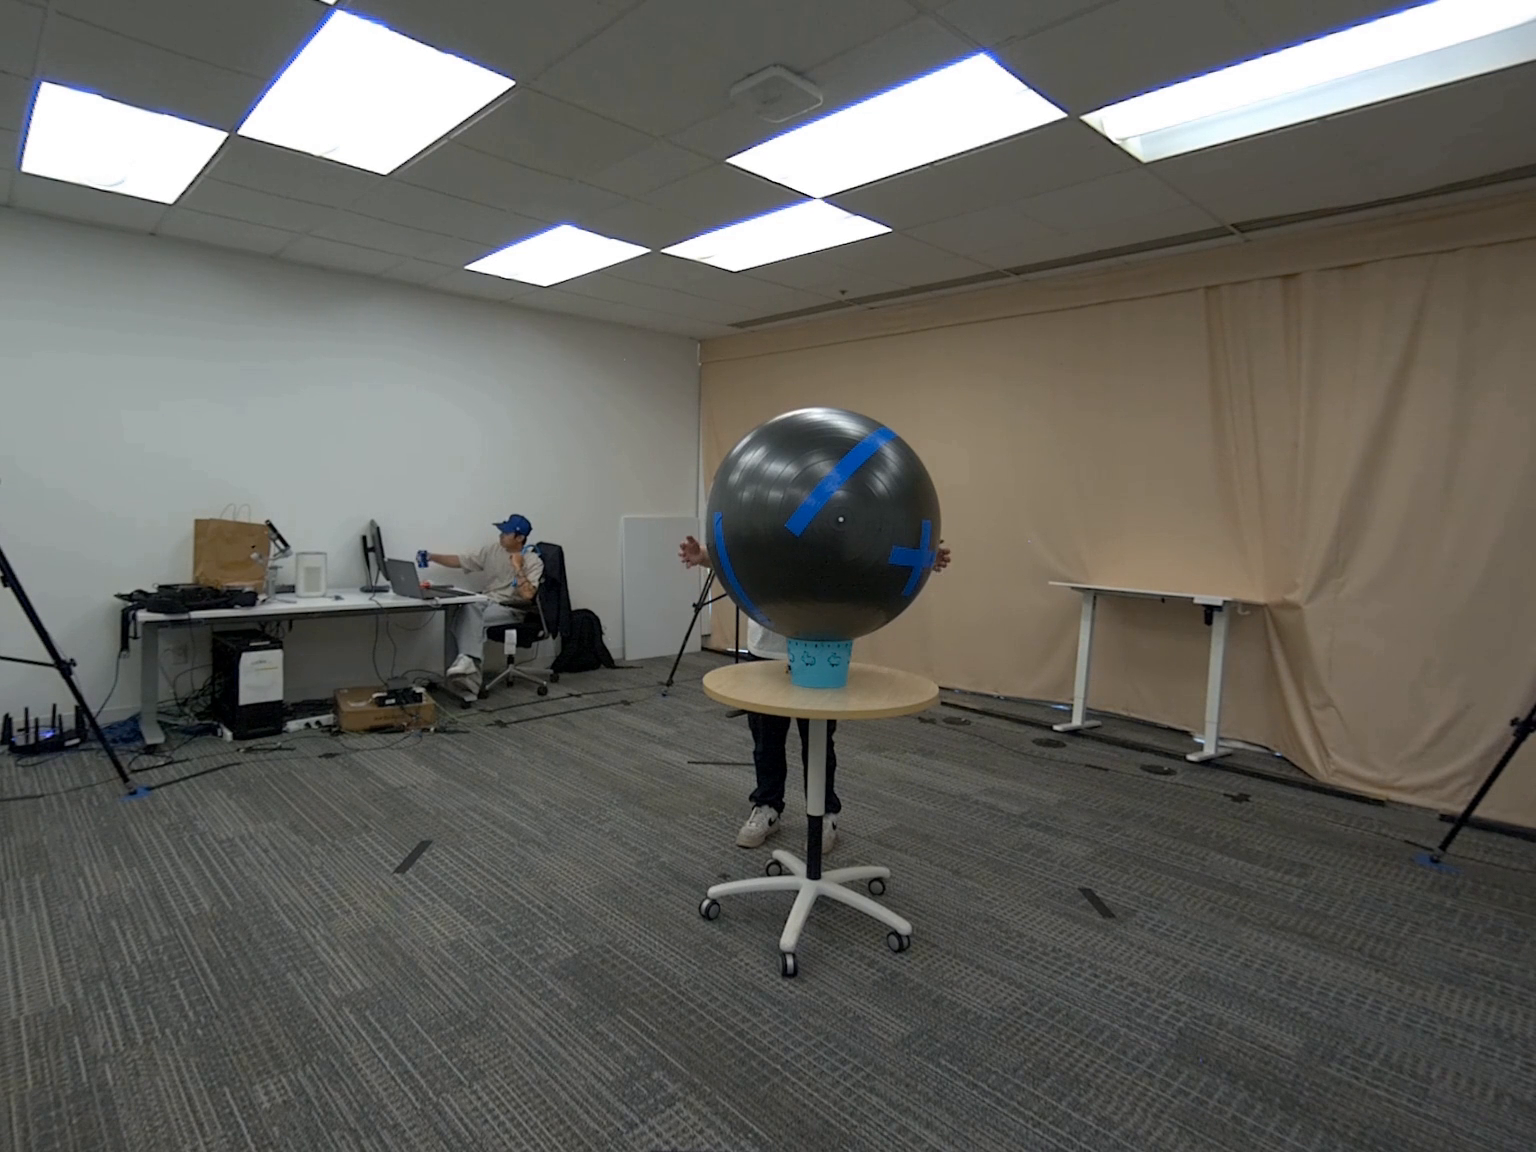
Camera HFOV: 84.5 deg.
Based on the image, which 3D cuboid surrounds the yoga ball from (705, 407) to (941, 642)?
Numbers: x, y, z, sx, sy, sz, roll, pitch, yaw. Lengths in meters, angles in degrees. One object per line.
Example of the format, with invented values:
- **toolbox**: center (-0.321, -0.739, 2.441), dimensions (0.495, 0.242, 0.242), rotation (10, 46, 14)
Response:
- **yoga ball**: center (0.168, -0.160, 2.731), dimensions (0.757, 0.756, 0.760), rotation (1, 4, -1)
